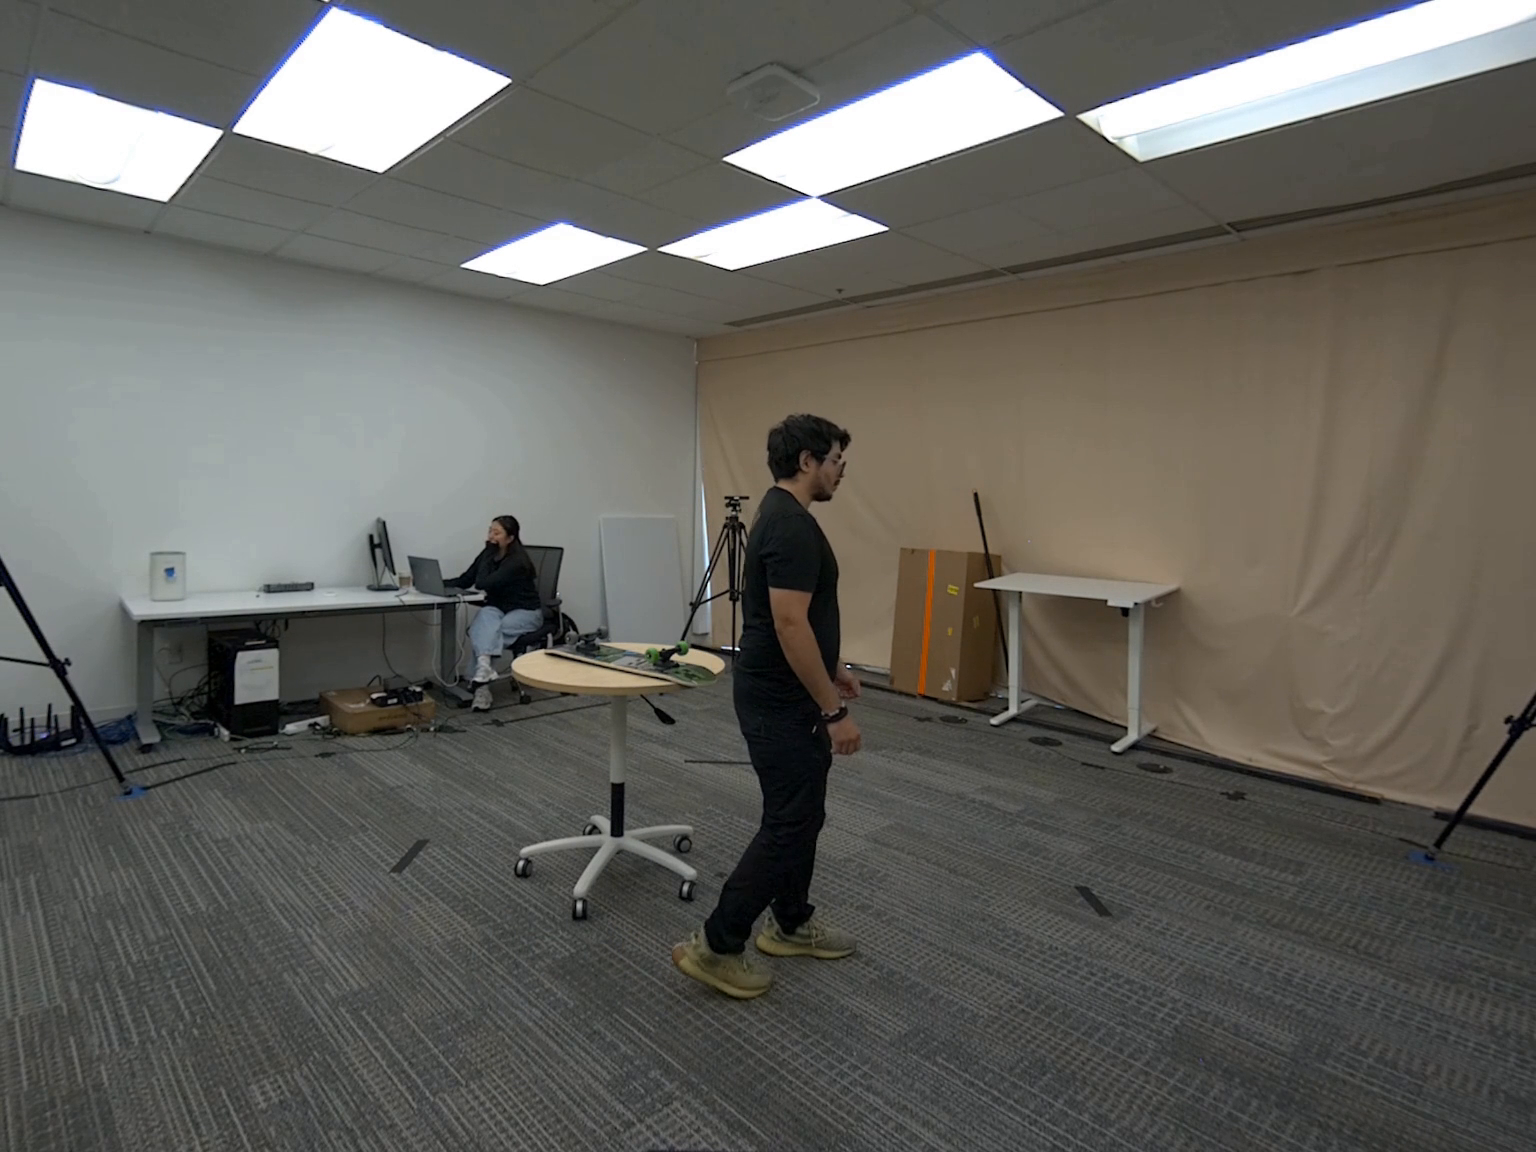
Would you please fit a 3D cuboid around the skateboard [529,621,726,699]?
[{"bbox_3d":[-0.522,0.283,3.009,0.805,0.110,0.189,8,8,37],"label":"skateboard"}]
